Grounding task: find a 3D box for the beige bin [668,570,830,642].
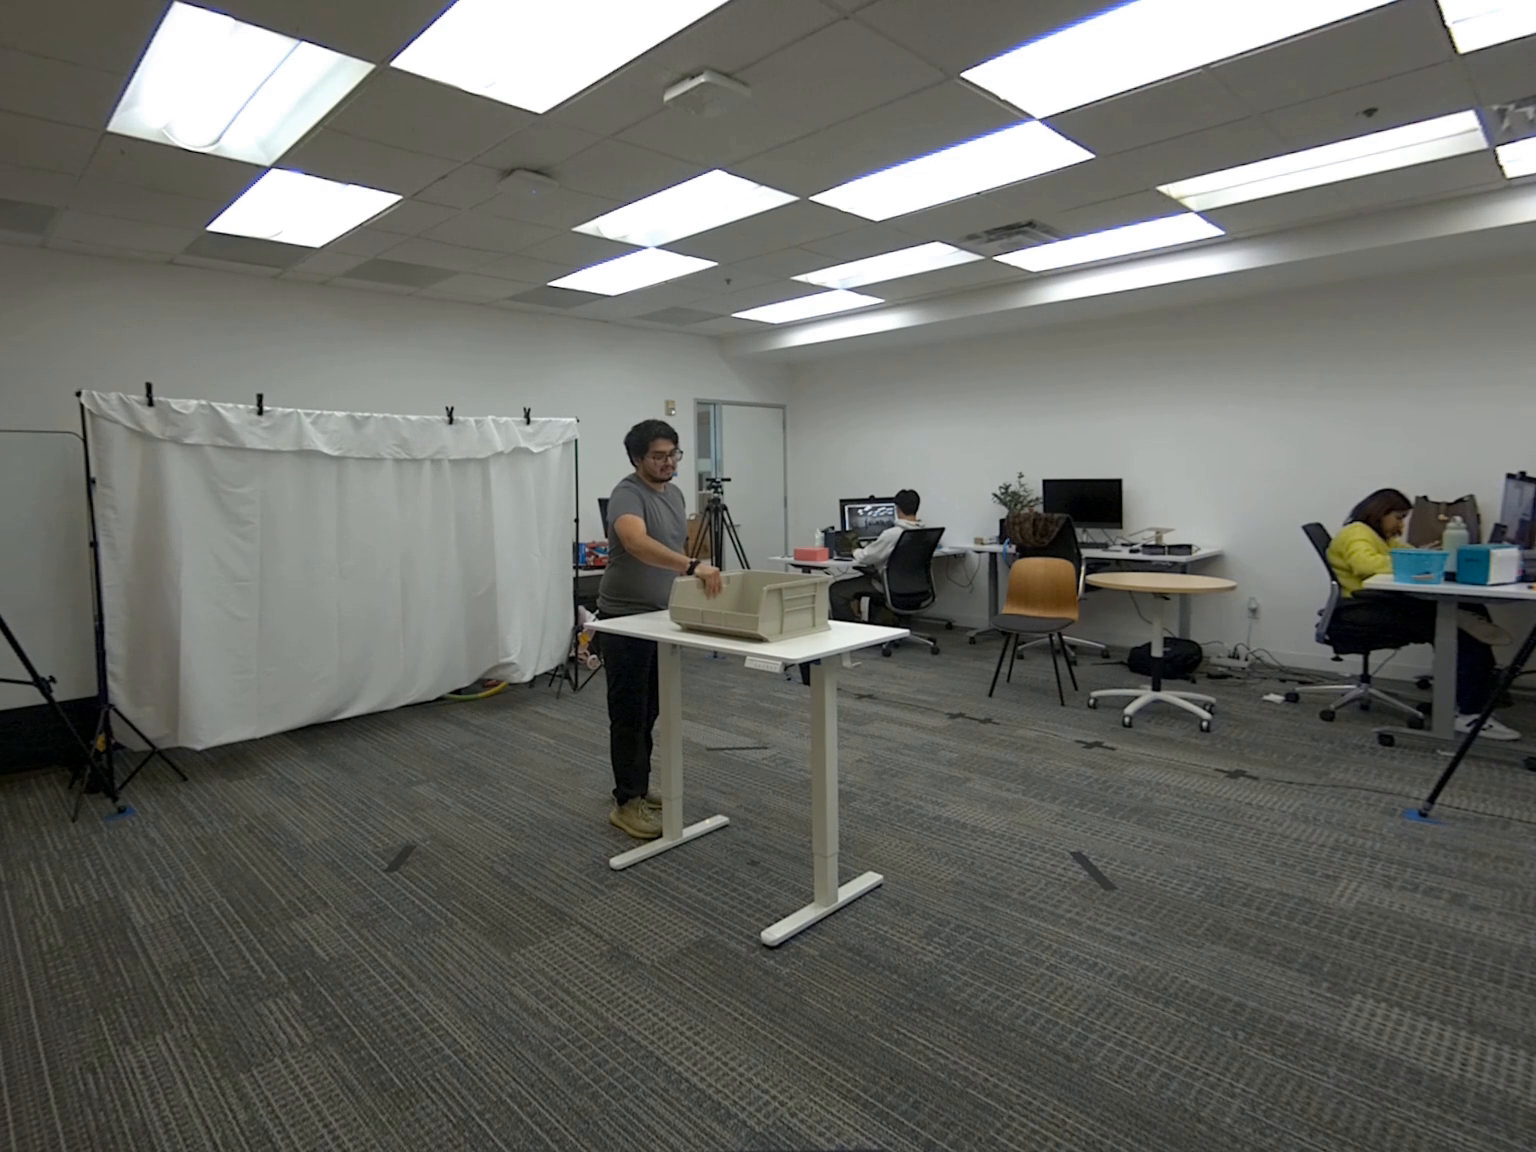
[{"bbox_3d":[-0.057,0.094,2.878,0.435,0.188,0.367,4,6,44],"label":"beige bin"}]
